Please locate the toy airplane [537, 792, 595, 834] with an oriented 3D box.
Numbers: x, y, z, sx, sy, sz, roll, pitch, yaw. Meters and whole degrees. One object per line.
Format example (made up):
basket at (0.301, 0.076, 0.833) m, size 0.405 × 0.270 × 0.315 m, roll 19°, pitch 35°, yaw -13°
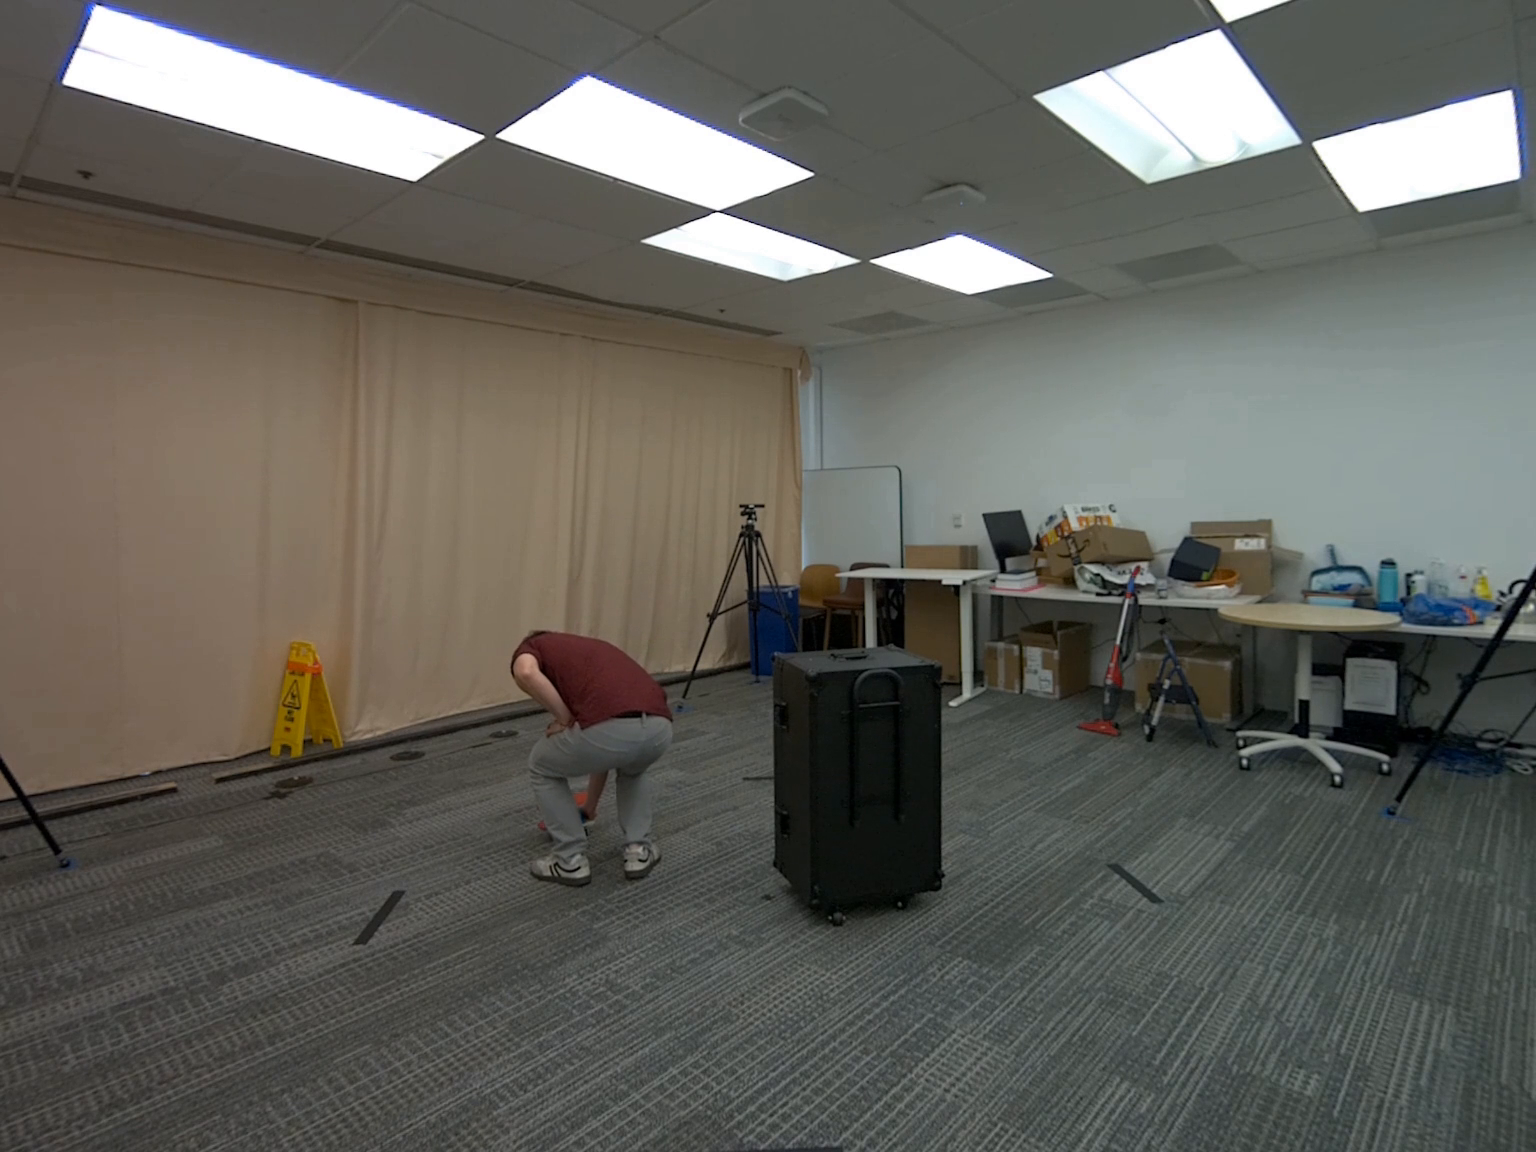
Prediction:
toy airplane at (-0.829, 1.029, 3.562) m, size 0.266 × 0.157 × 0.244 m, roll -11°, pitch -5°, yaw 31°
